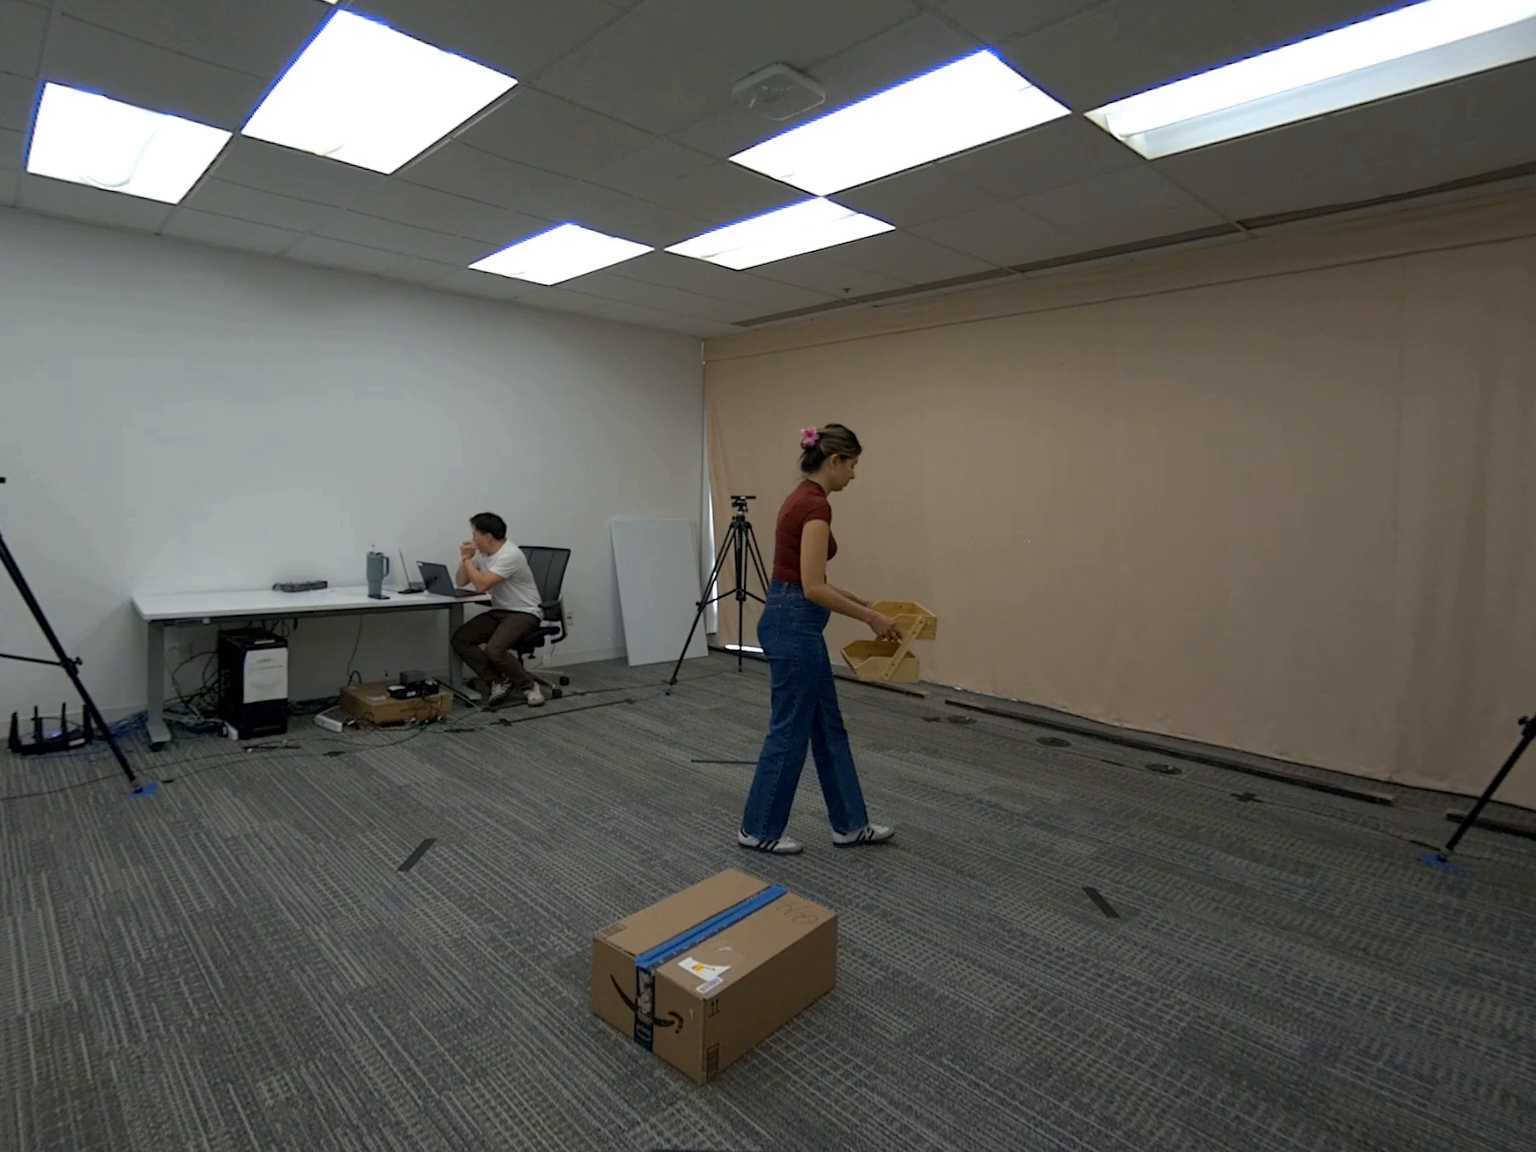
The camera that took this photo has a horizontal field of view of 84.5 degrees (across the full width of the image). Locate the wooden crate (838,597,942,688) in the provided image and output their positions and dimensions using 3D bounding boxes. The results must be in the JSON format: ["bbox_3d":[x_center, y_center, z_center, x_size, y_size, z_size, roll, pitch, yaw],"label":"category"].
[{"bbox_3d":[0.470,0.251,3.338,0.301,0.272,0.327,4,7,-5],"label":"wooden crate"}]
